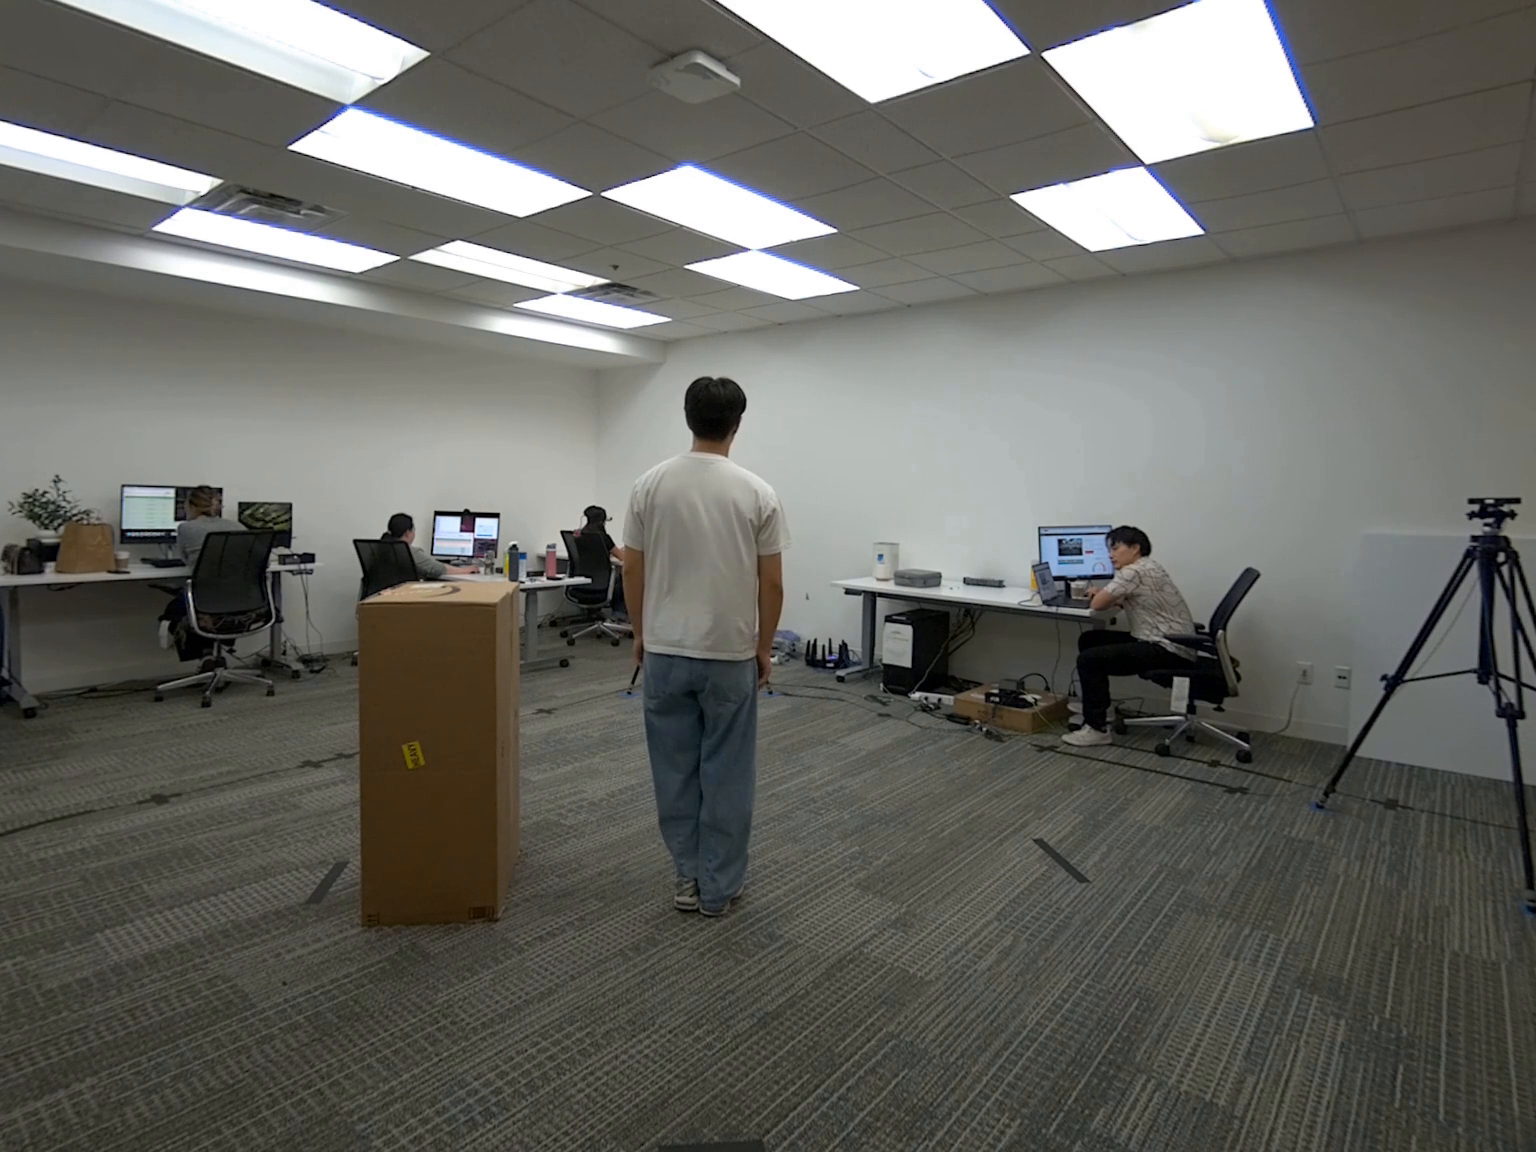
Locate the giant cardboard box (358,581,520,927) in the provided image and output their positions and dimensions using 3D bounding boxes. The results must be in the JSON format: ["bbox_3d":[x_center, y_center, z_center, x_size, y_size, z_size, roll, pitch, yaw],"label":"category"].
[{"bbox_3d":[-1.119,0.559,2.936,0.423,1.023,0.584,0,3,-9],"label":"giant cardboard box"}]
